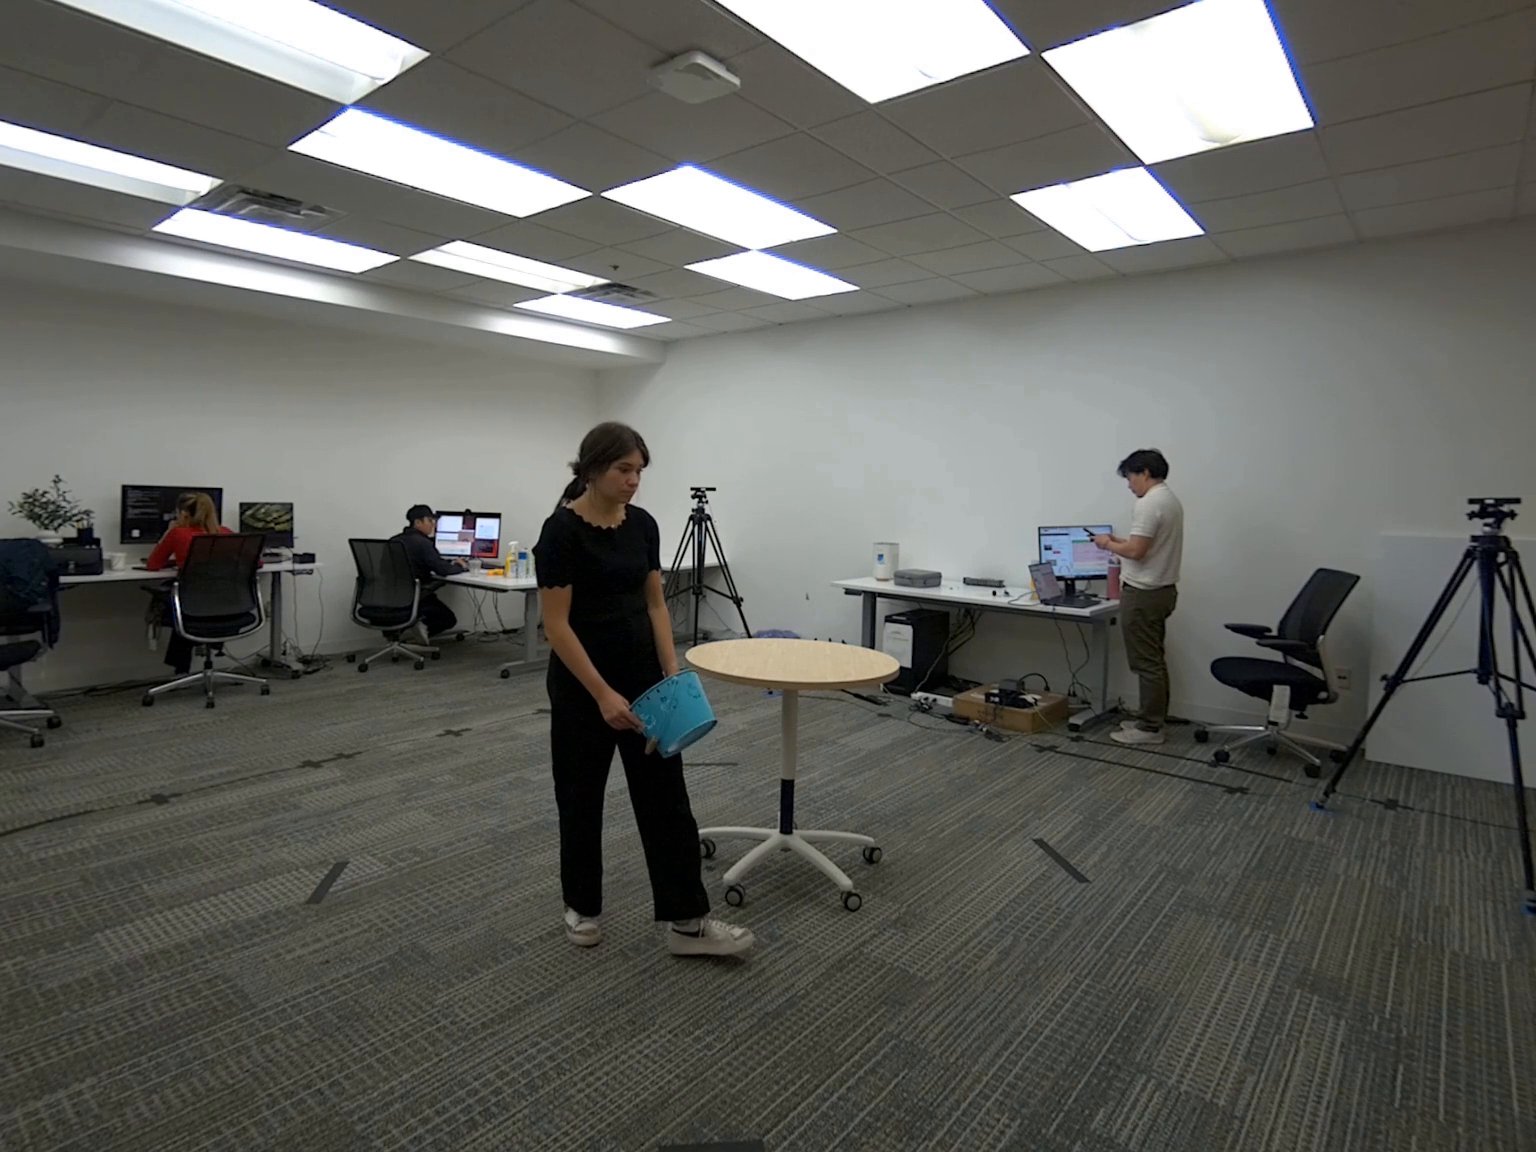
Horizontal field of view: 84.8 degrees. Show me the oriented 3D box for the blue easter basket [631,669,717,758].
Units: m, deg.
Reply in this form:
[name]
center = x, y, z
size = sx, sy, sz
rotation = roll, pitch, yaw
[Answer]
[blue easter basket]
center = -0.286, 0.406, 2.383
size = 0.242, 0.160, 0.239
rotation = -29, -17, -13
